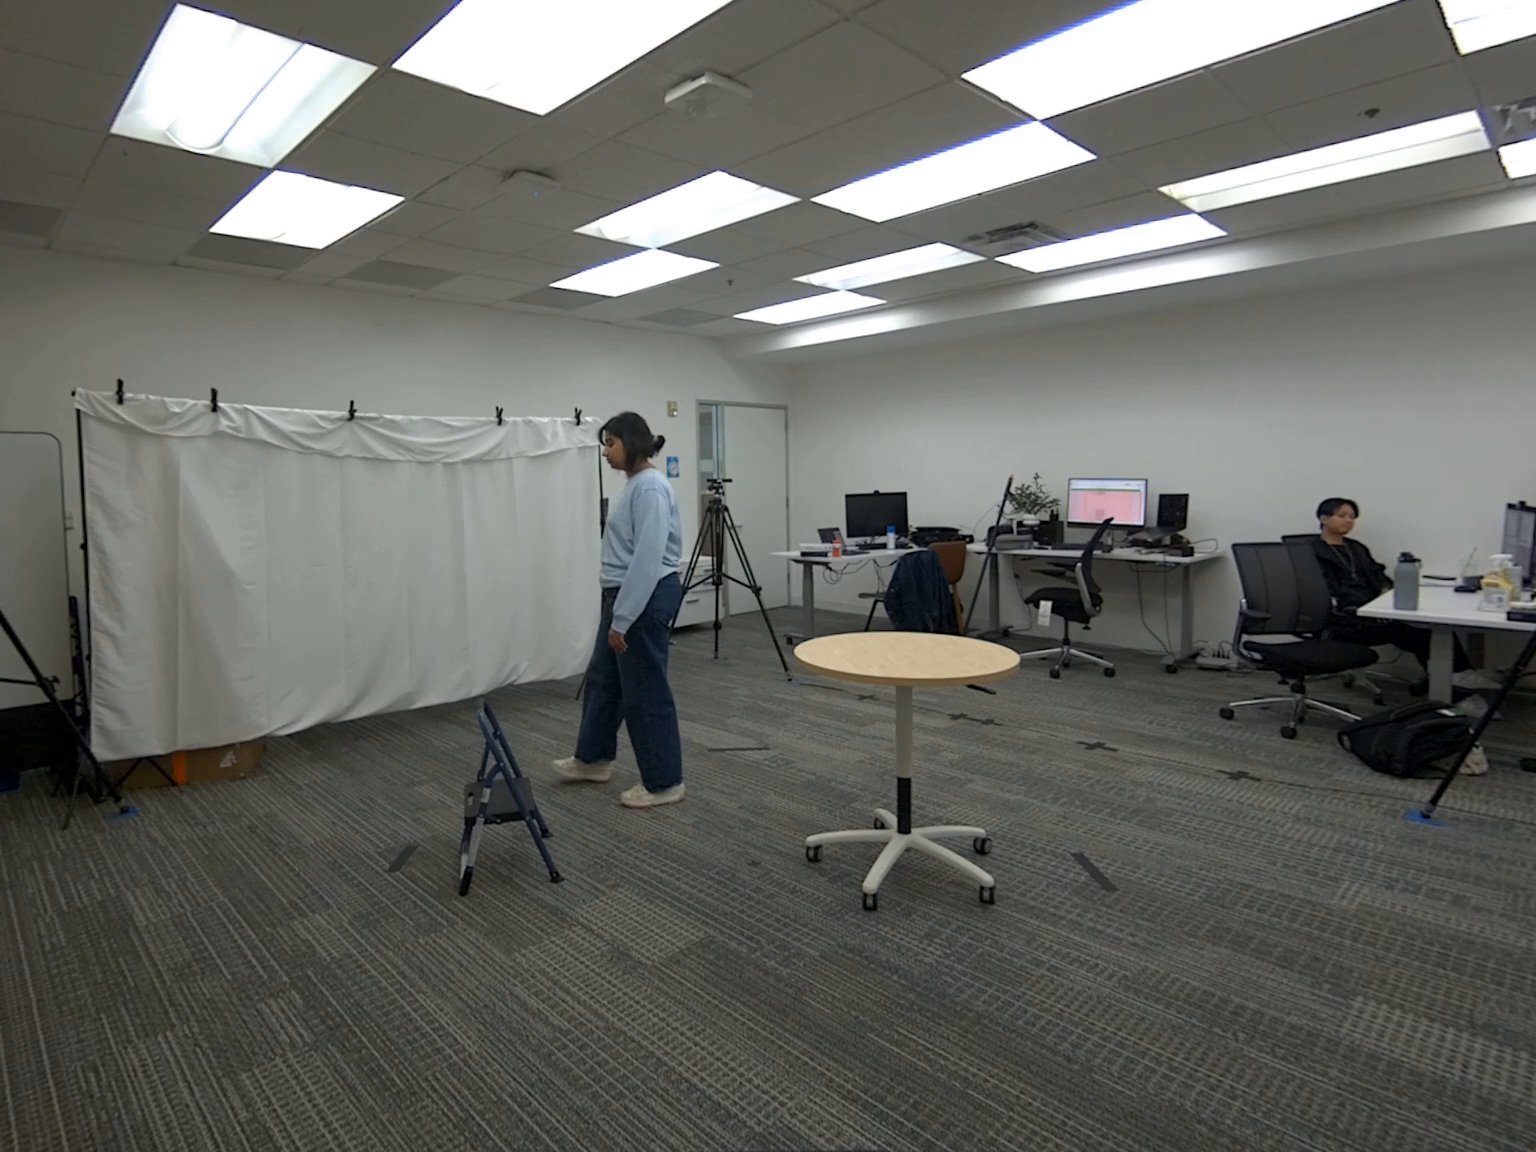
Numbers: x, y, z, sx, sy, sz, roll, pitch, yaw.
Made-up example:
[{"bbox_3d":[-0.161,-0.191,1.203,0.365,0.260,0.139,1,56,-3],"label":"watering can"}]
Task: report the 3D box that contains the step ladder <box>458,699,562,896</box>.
[{"bbox_3d":[-0.960,0.762,3.129,0.344,0.604,0.439,-3,4,-19],"label":"step ladder"}]
